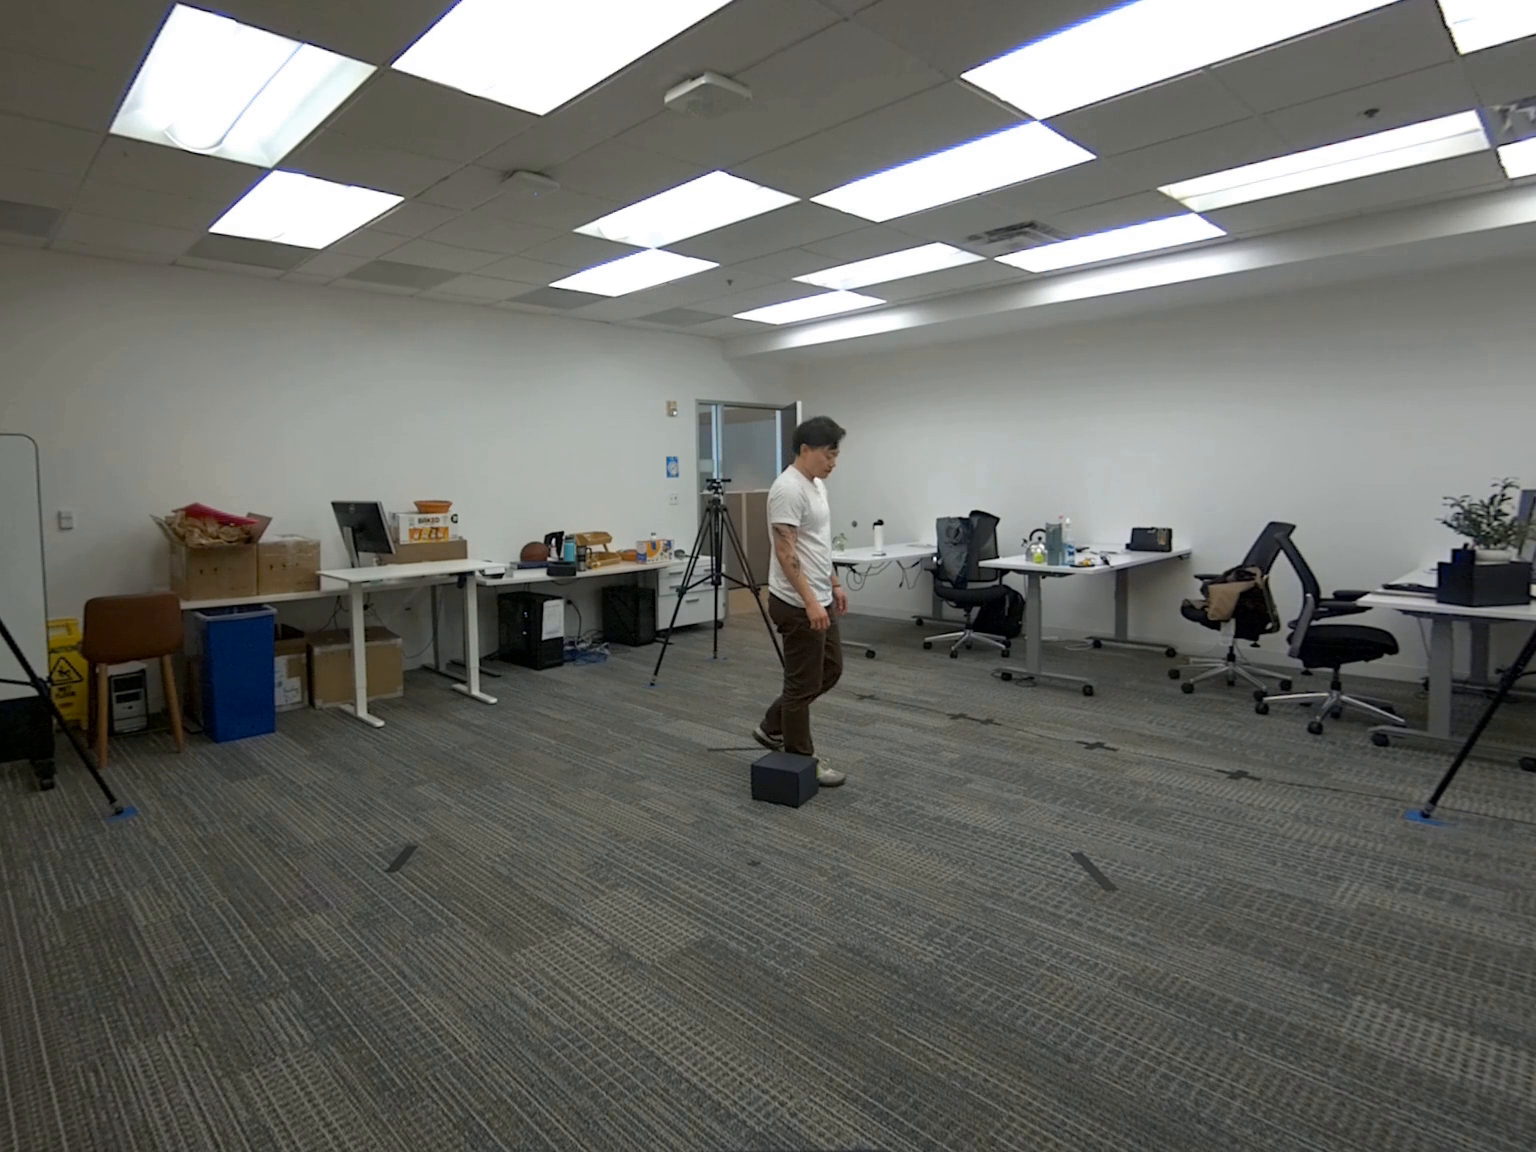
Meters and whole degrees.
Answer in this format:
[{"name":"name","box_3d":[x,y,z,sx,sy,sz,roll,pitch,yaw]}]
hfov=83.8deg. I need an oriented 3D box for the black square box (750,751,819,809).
[{"name":"black square box","box_3d":[0.076,0.887,3.755,0.234,0.155,0.212,2,6,29]}]
